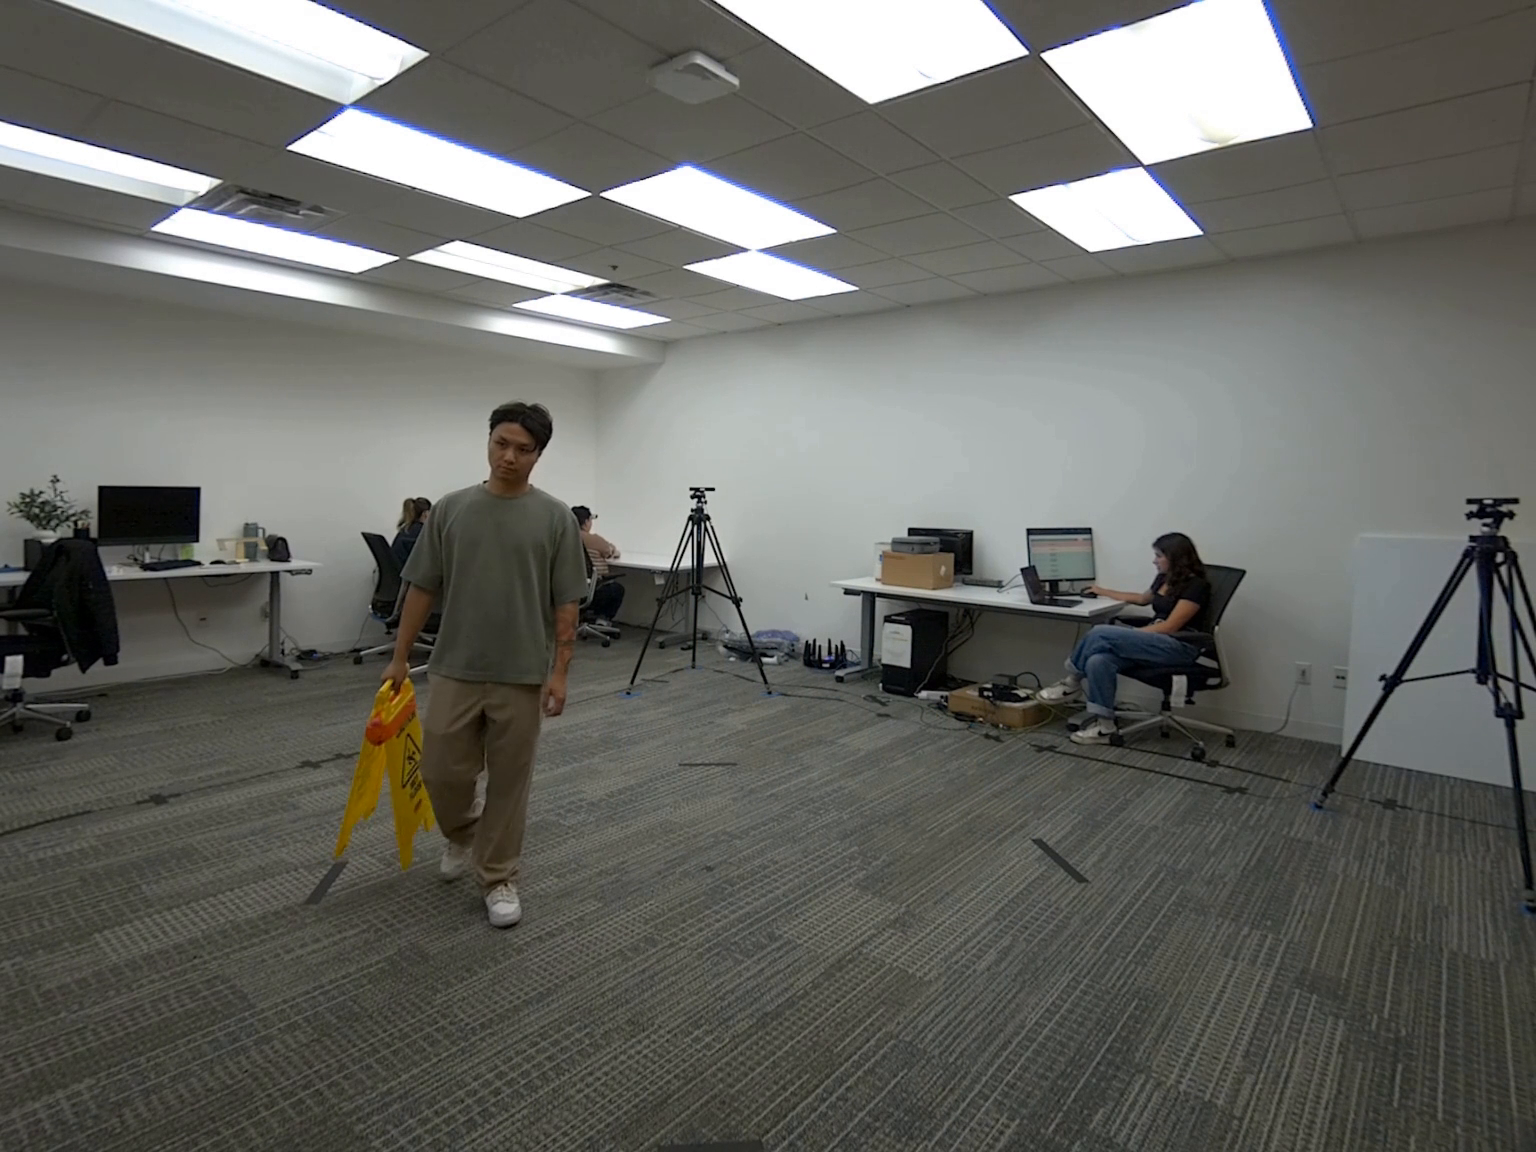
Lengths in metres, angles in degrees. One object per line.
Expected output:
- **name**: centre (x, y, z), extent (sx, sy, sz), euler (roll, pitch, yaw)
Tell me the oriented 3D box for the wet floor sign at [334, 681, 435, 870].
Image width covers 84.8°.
- **wet floor sign**: centre (-1.290, 0.624, 2.873), extent (0.289, 0.637, 0.286), euler (9, 19, -2)
